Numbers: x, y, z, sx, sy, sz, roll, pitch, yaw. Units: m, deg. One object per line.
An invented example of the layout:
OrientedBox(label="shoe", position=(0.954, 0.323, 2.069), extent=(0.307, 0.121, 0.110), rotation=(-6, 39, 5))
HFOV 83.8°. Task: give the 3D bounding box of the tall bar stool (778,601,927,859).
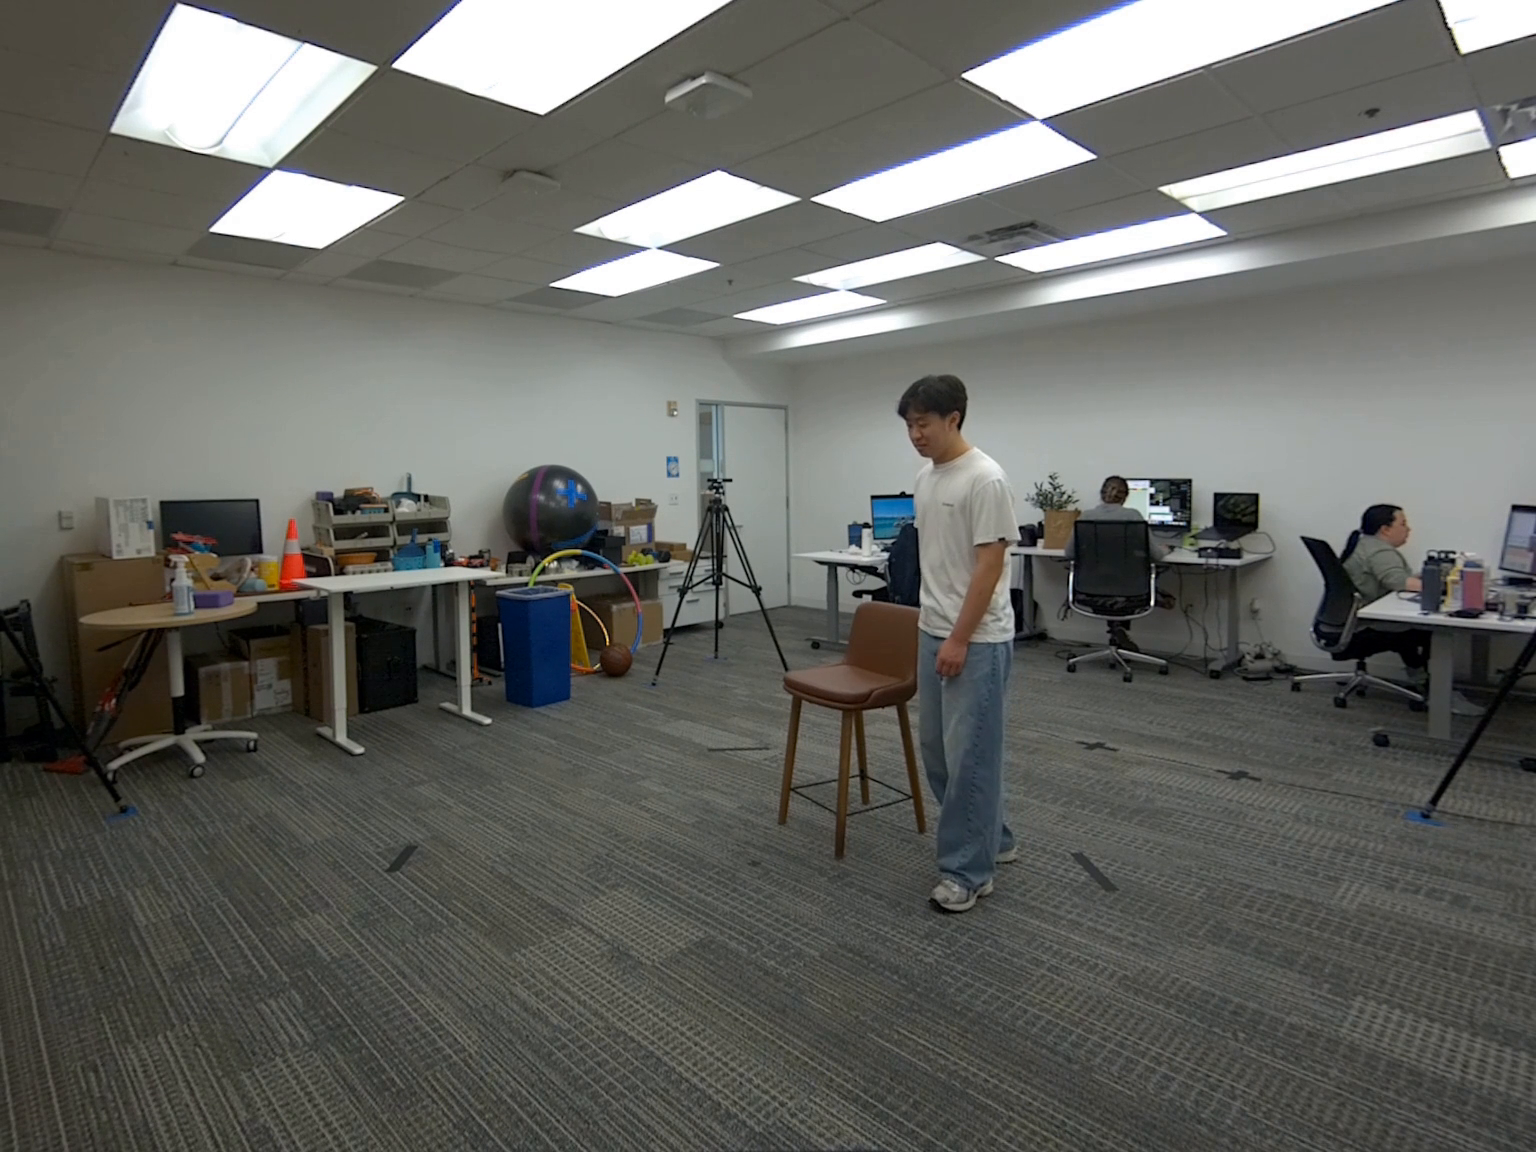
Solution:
OrientedBox(label="tall bar stool", position=(0.334, 0.572, 3.391), extent=(0.456, 0.887, 0.469), rotation=(-2, 4, -31))
